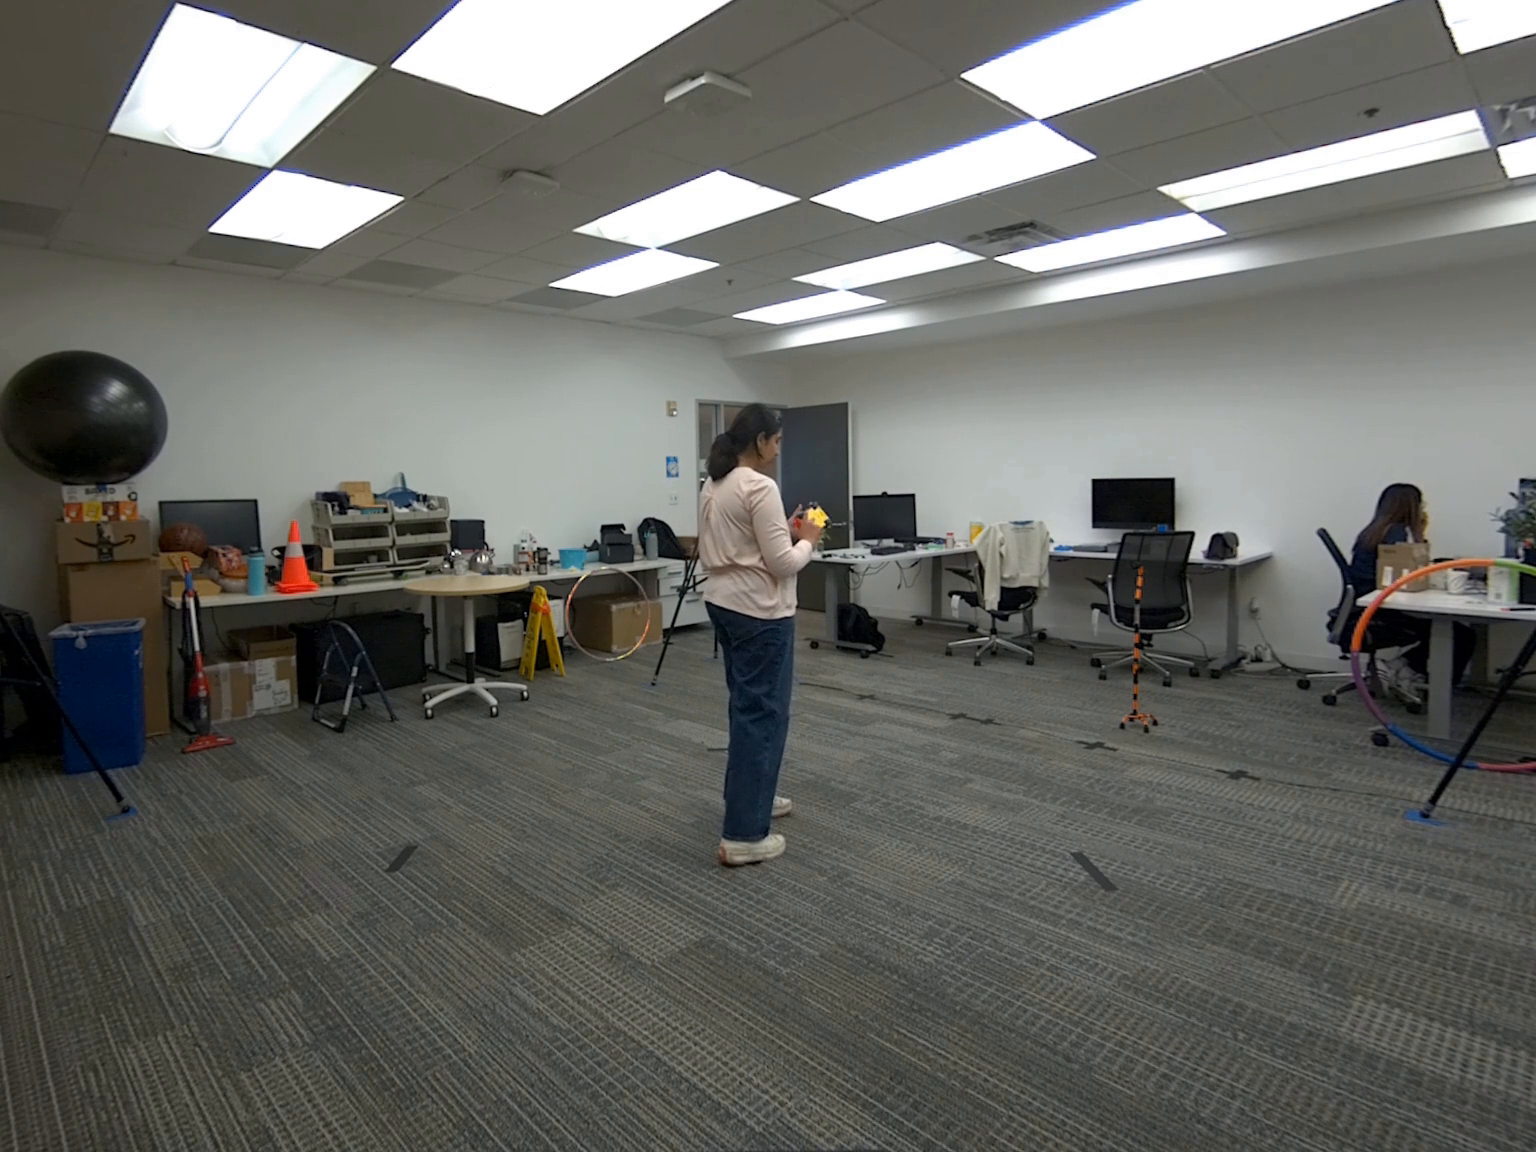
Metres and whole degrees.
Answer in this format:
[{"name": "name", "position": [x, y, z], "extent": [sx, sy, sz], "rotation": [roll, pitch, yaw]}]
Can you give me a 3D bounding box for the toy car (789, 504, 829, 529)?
[{"name": "toy car", "position": [0.185, -0.225, 3.477], "extent": [0.083, 0.130, 0.253], "rotation": [-41, 0, 22]}]
